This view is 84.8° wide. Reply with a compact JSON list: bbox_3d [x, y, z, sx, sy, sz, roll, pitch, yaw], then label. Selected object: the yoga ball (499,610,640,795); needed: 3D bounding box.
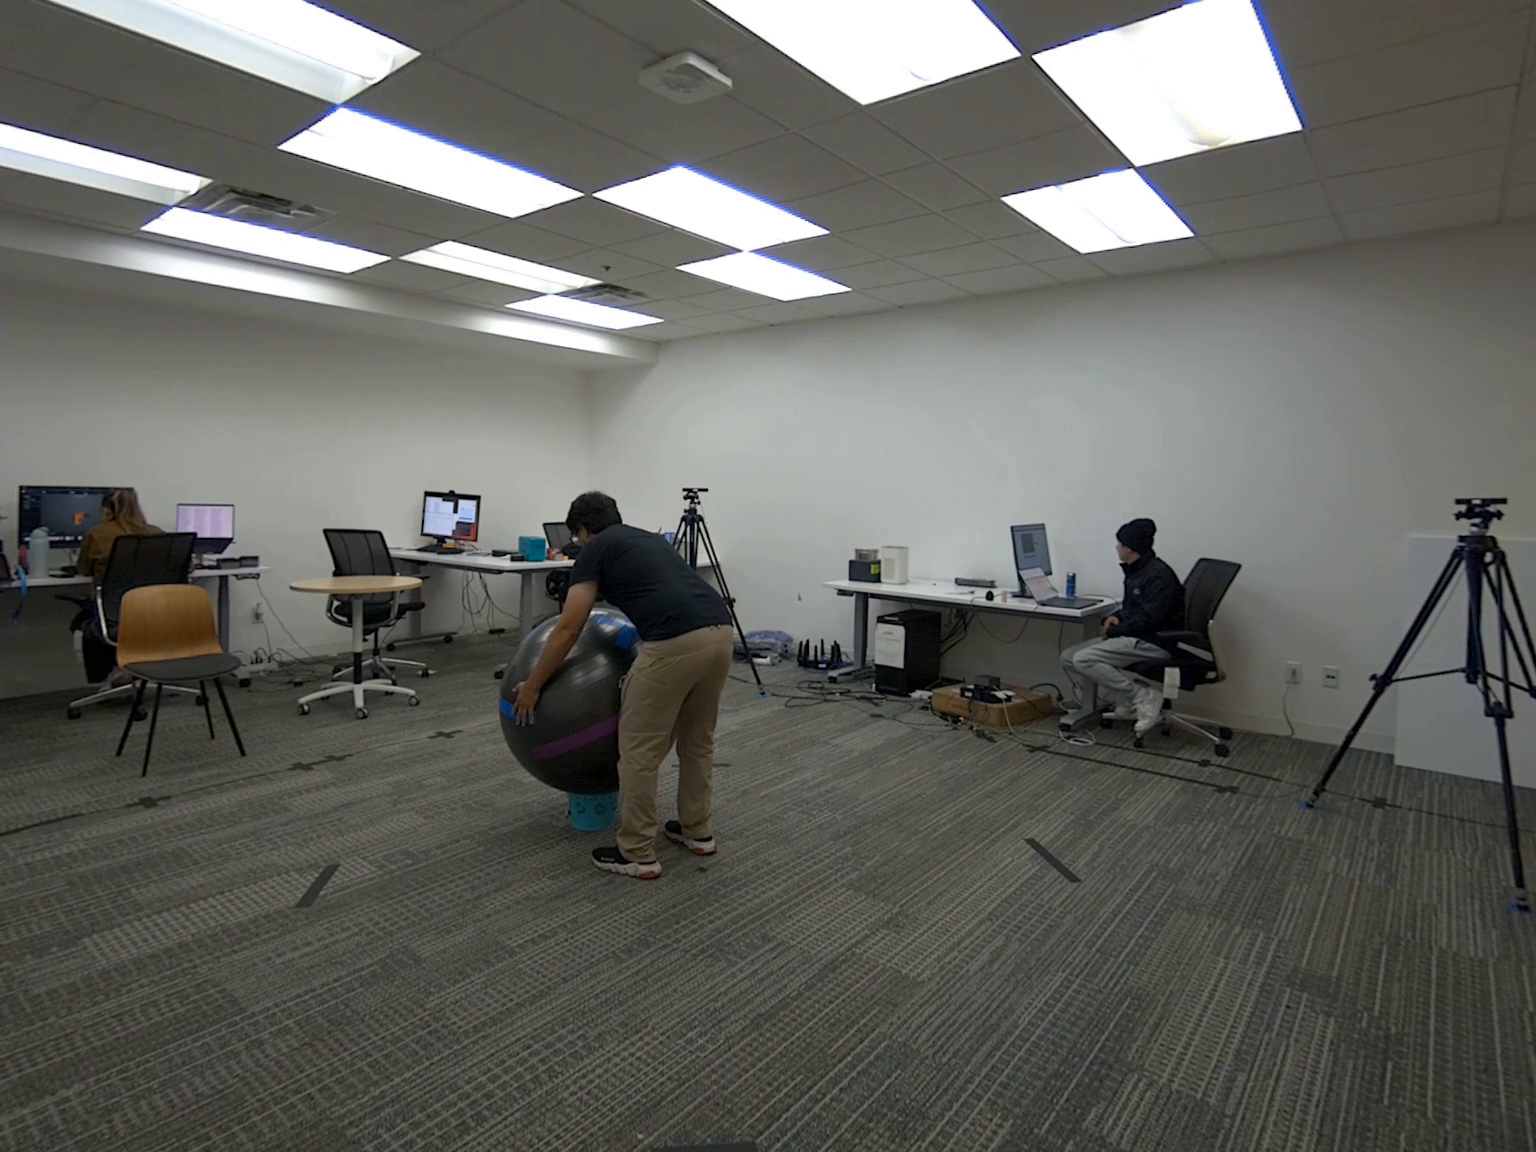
[{"bbox_3d":[-0.744,0.518,3.519,0.757,0.756,0.761,1,4,-2],"label":"yoga ball"}]
